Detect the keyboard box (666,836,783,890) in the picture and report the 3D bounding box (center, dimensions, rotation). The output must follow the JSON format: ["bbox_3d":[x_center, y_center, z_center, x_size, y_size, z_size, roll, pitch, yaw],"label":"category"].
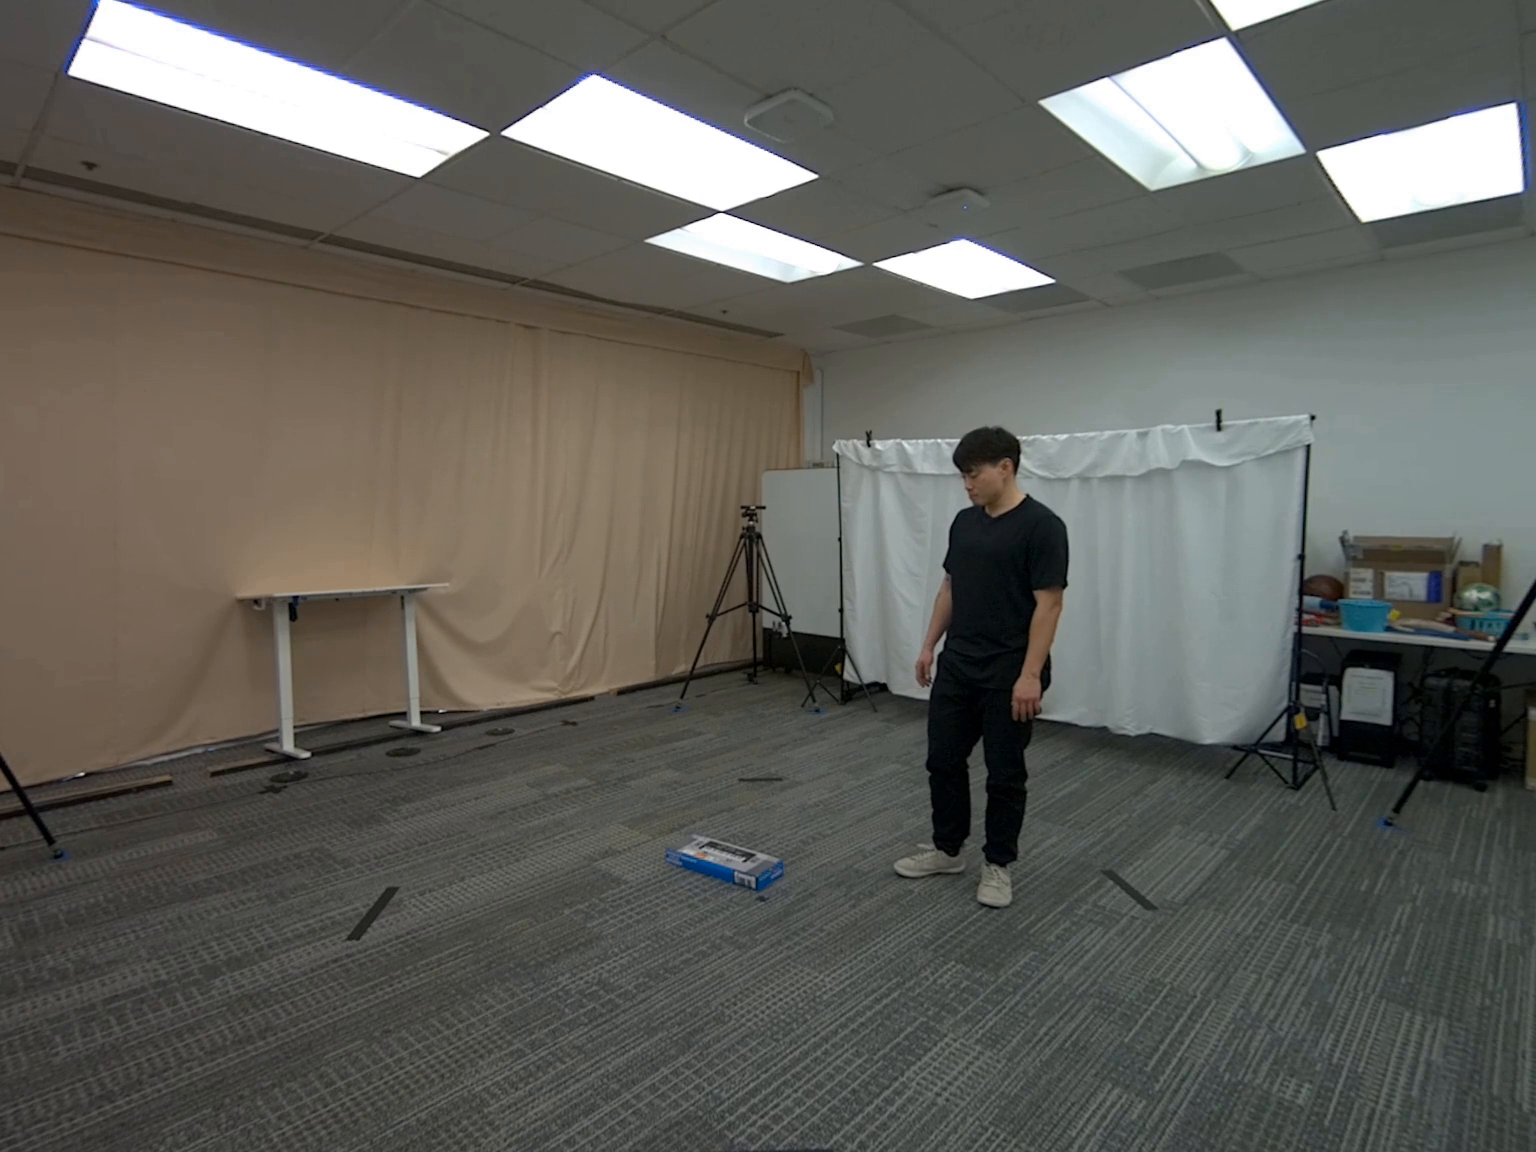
[{"bbox_3d":[-0.167,1.093,3.231,0.450,0.059,0.171,3,7,35],"label":"keyboard box"}]
